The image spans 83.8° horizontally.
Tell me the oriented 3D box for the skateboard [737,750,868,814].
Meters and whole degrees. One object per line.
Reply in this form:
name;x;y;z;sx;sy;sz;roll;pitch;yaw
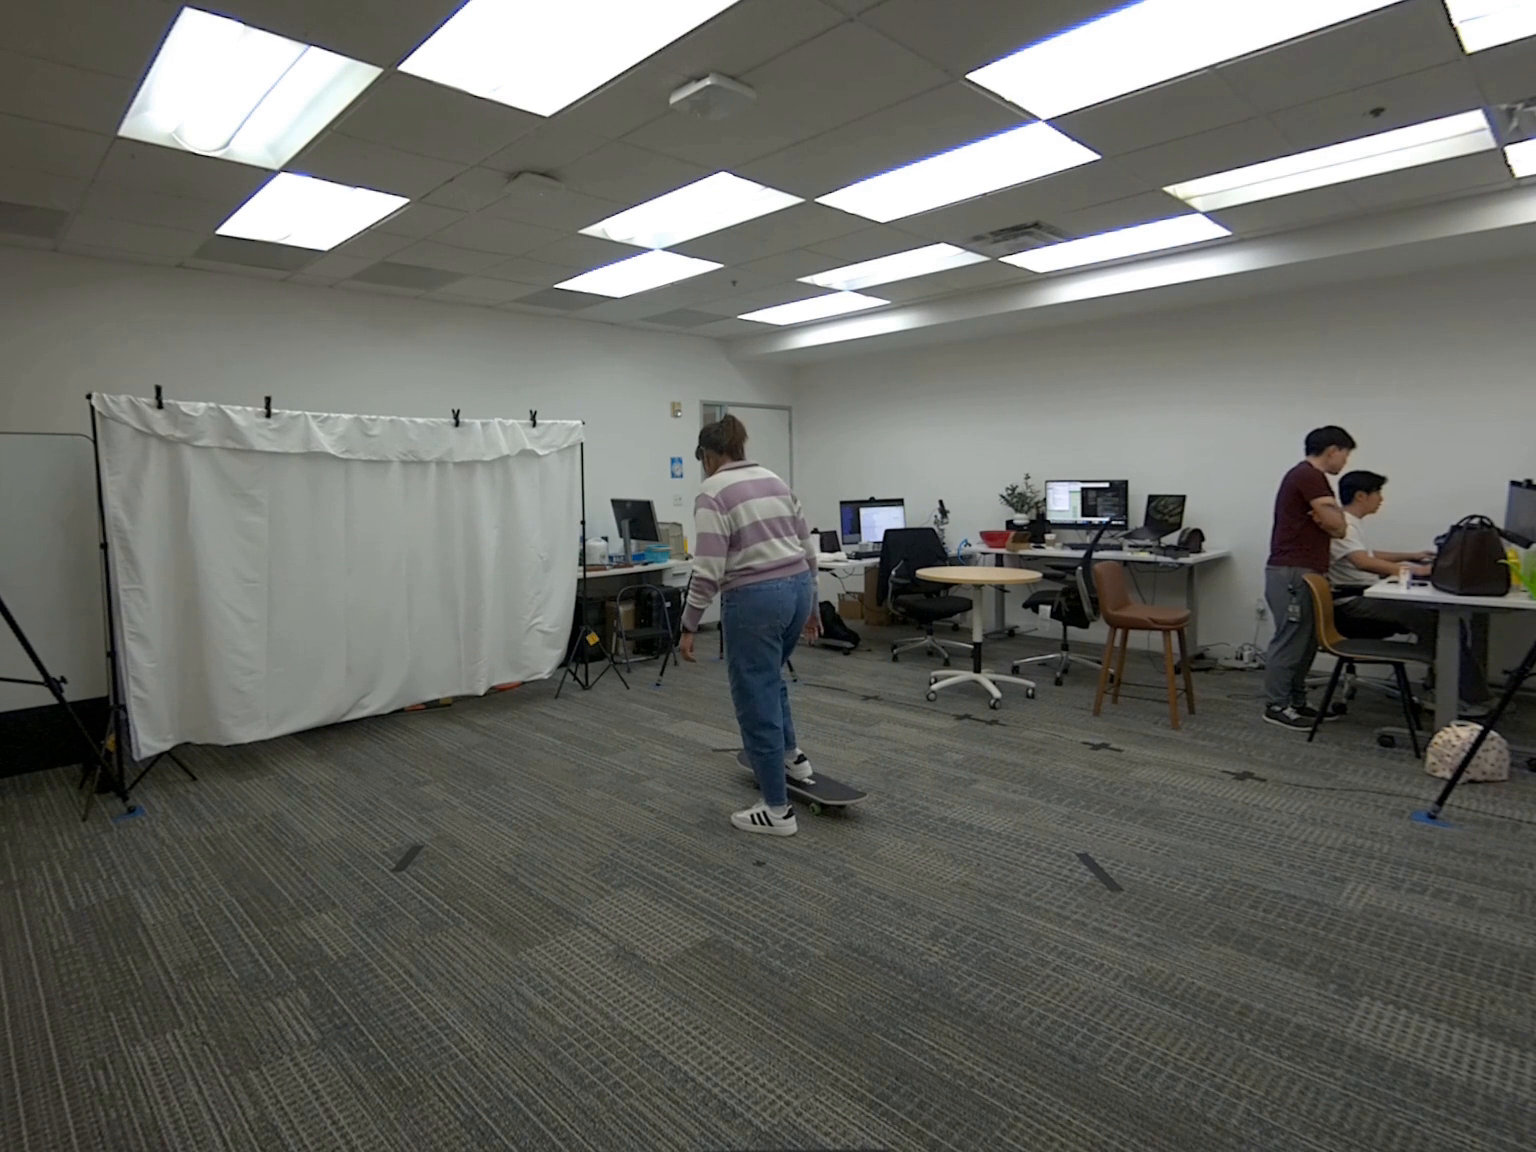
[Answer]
skateboard;0.136;0.917;3.755;0.188;0.110;0.809;-5;8;-37
